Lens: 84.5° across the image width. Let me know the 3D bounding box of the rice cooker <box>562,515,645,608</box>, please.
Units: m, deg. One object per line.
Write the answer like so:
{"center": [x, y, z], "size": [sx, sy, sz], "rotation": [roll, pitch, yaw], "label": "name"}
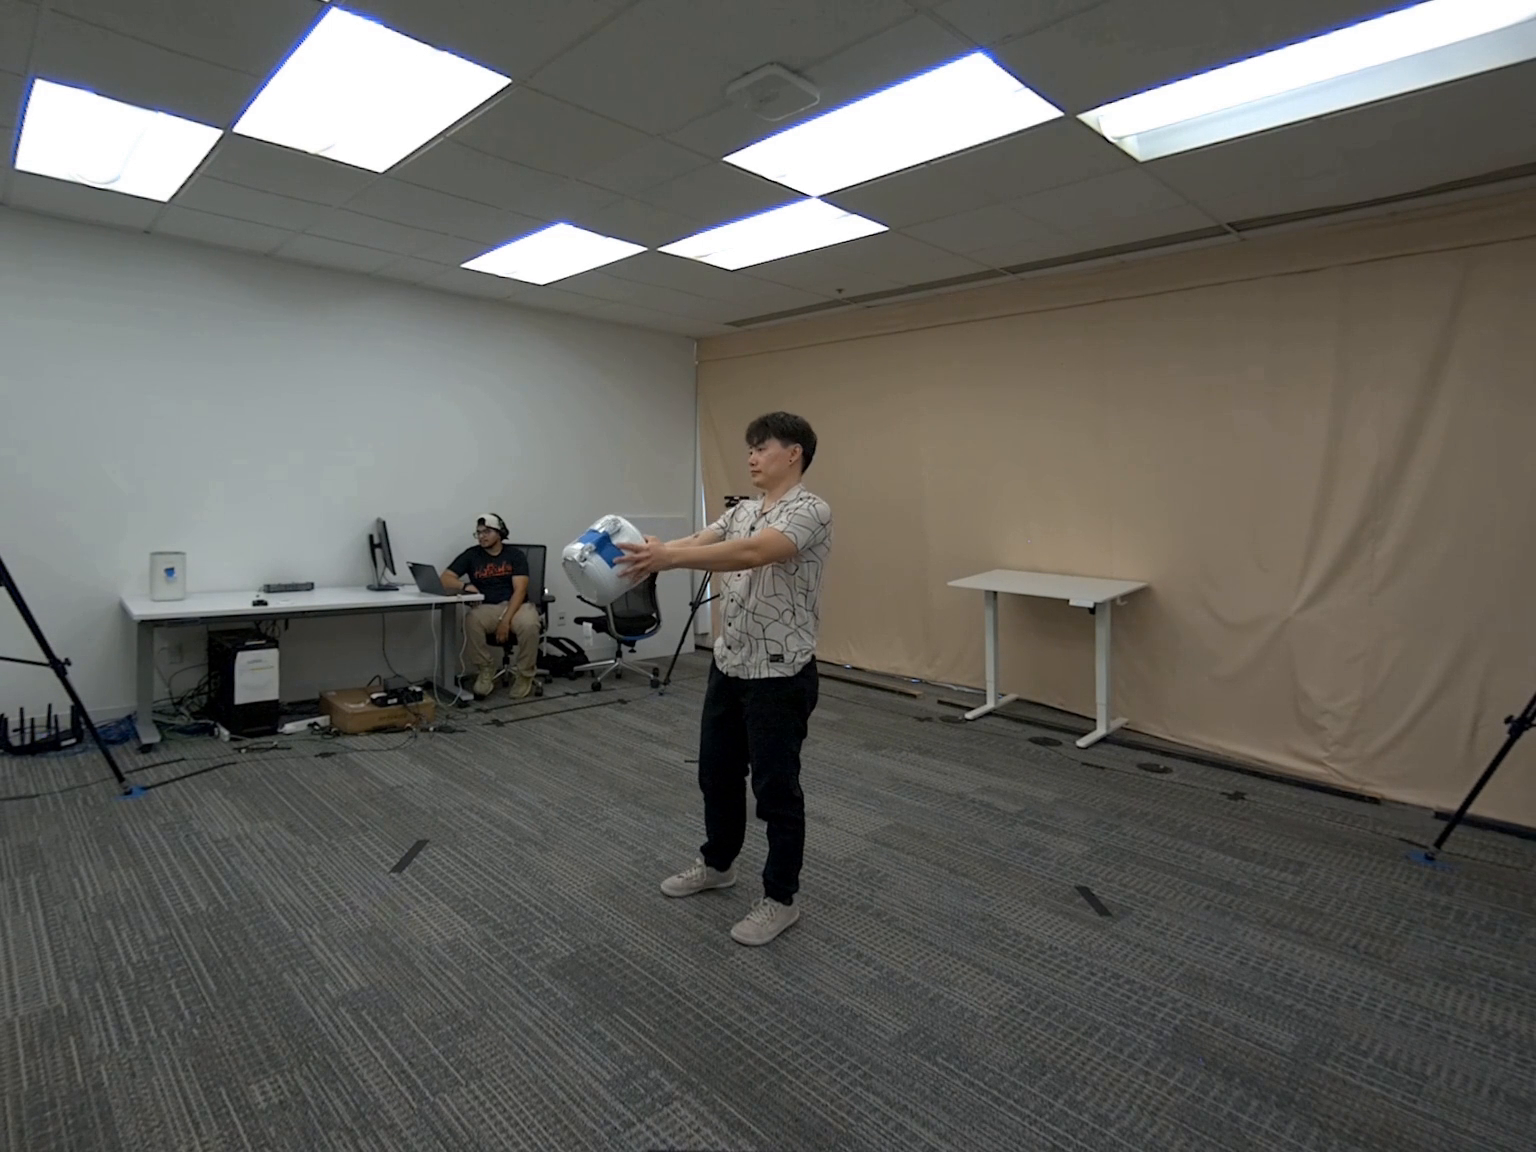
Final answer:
{"center": [-0.457, -0.048, 2.438], "size": [0.232, 0.217, 0.222], "rotation": [-38, 20, -28], "label": "rice cooker"}
